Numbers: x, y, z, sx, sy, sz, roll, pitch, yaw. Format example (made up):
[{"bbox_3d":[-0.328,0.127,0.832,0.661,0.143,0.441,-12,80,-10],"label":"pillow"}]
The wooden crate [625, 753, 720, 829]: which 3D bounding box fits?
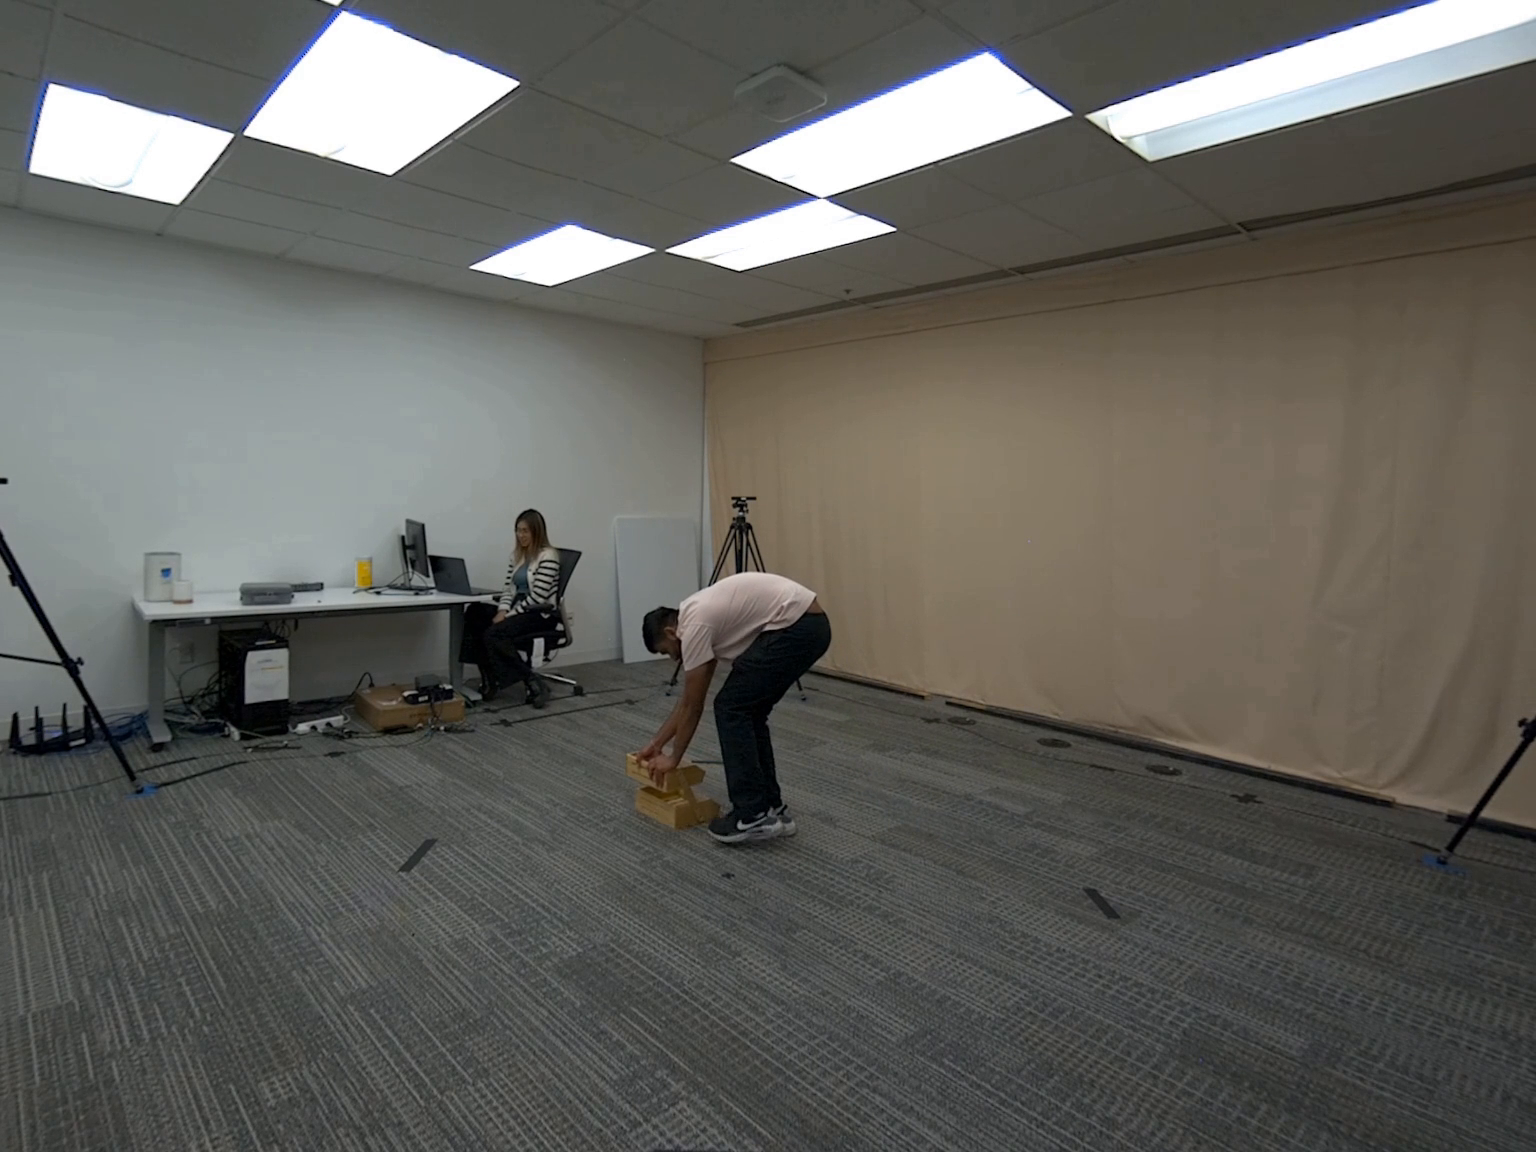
[{"bbox_3d":[-0.423,0.914,3.697,0.295,0.272,0.333,-4,7,-42],"label":"wooden crate"}]
